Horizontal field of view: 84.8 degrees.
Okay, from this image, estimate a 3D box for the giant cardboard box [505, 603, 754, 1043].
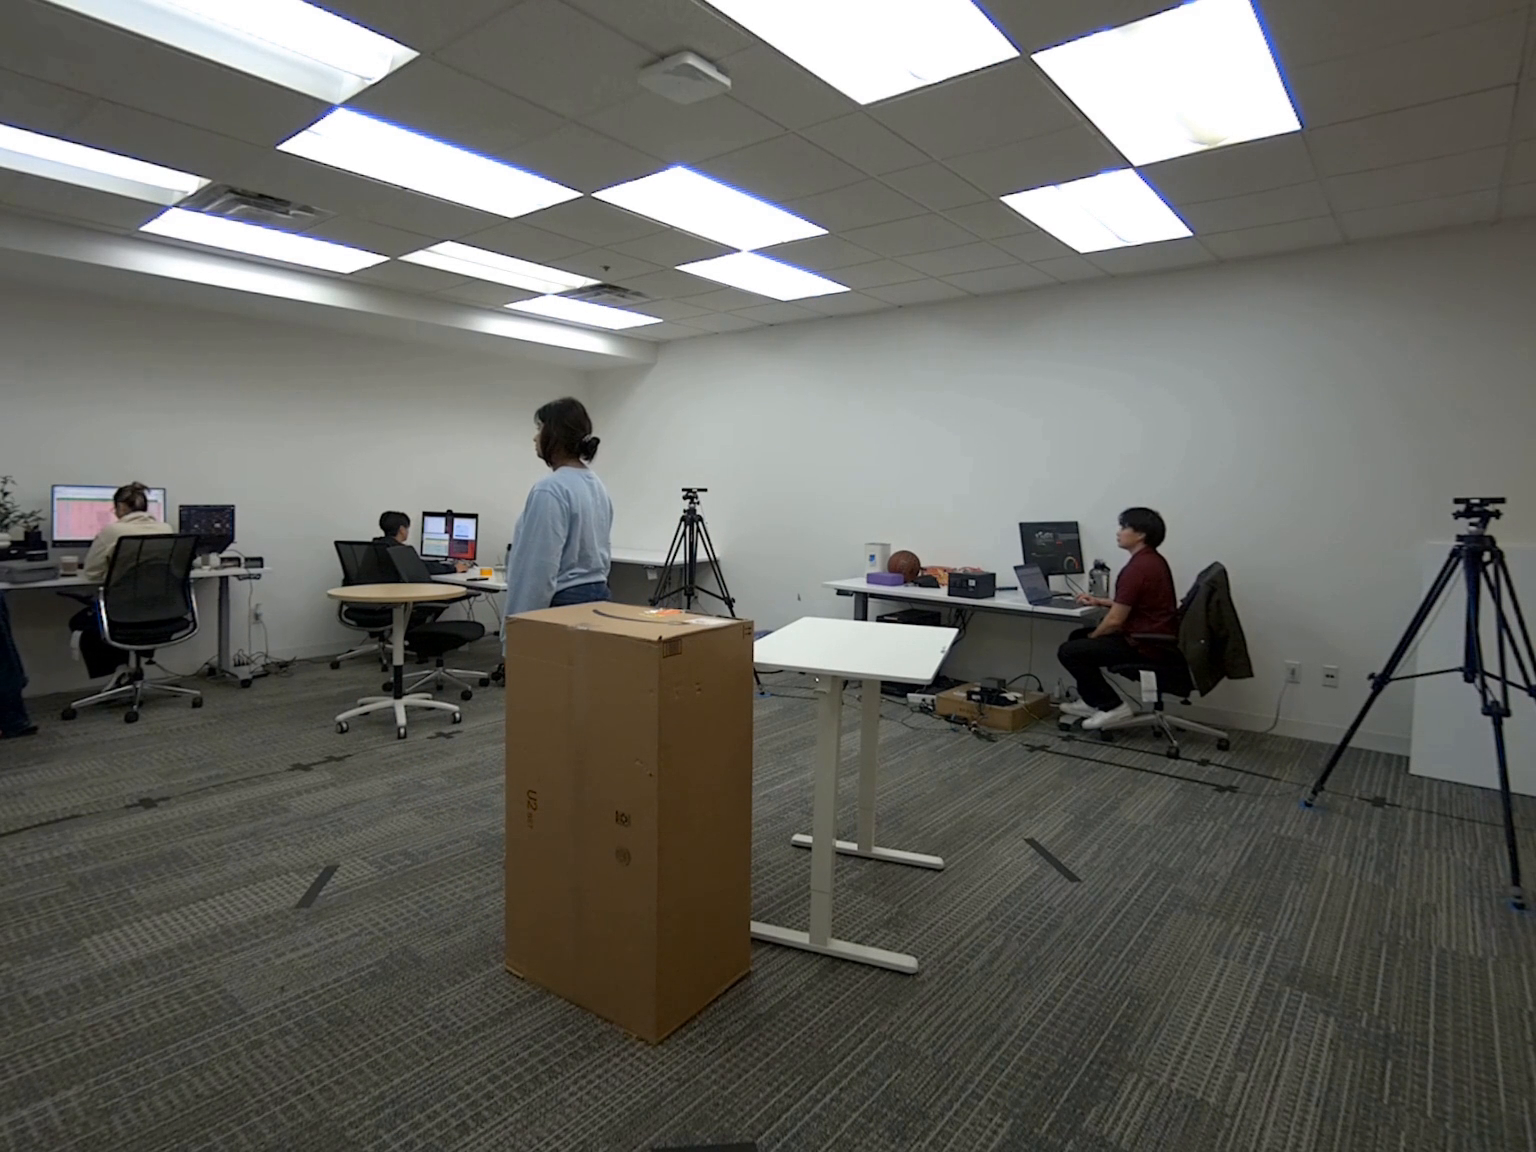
[{"bbox_3d":[-0.401,0.626,2.428,0.596,1.023,0.414,3,4,34],"label":"giant cardboard box"}]
